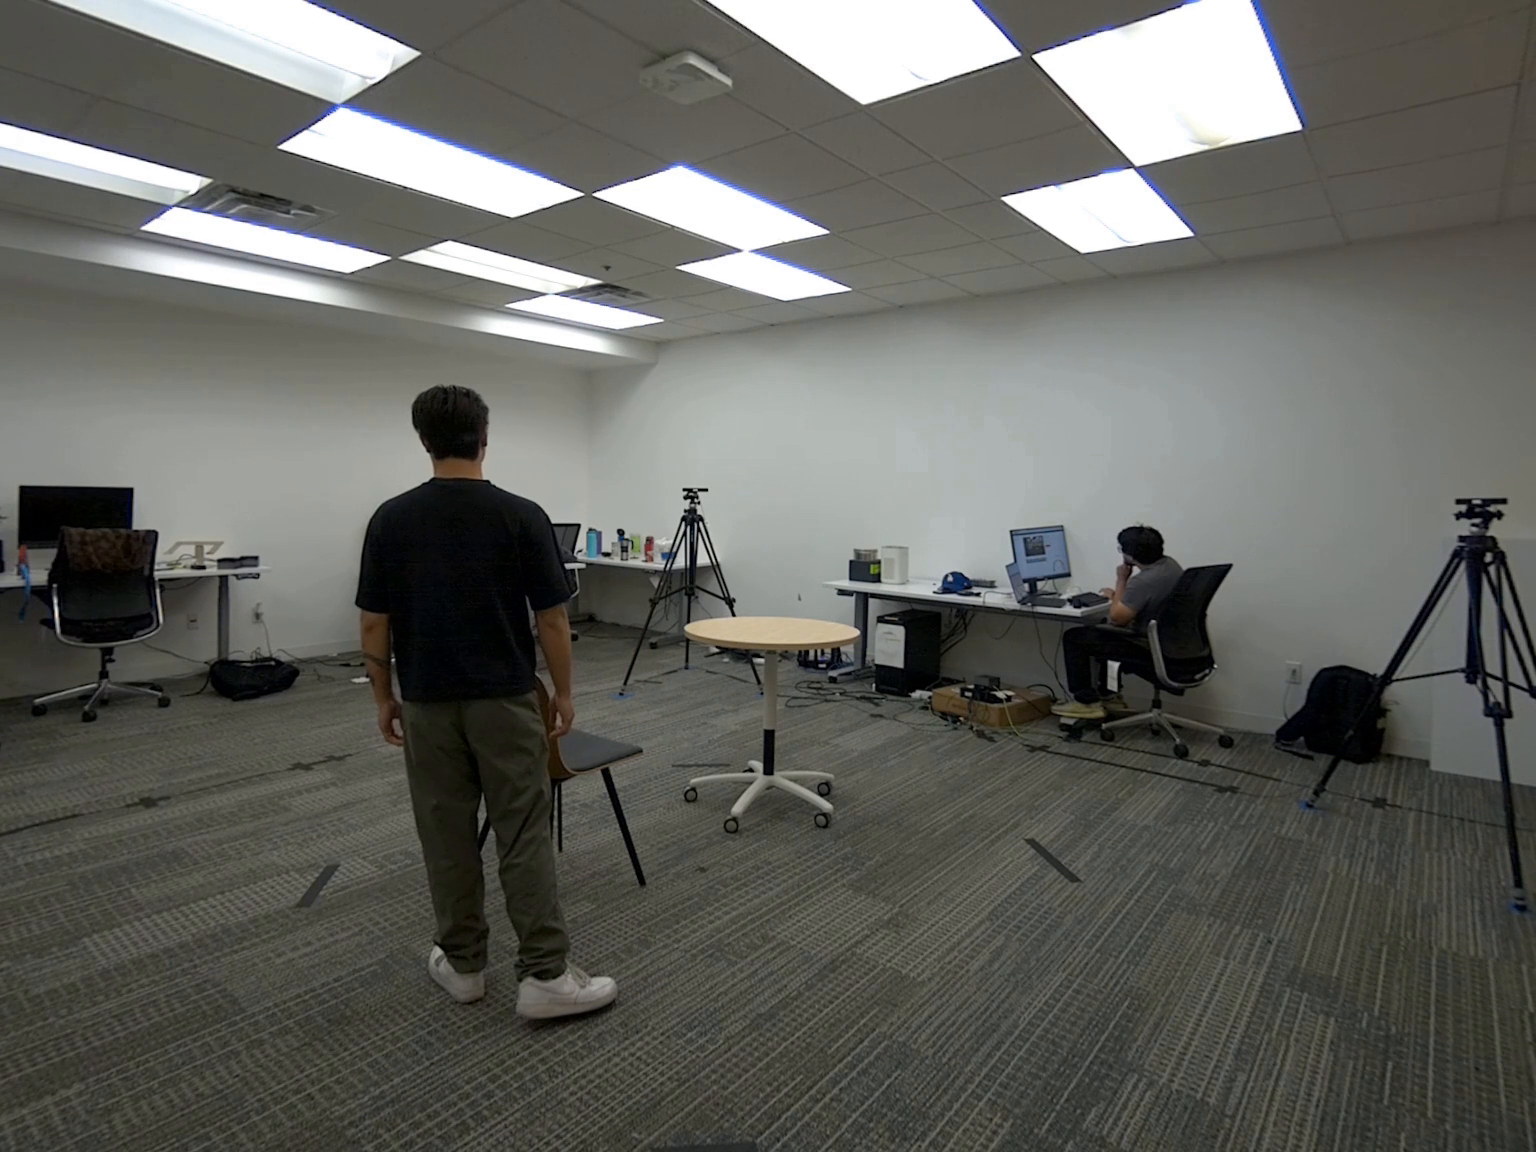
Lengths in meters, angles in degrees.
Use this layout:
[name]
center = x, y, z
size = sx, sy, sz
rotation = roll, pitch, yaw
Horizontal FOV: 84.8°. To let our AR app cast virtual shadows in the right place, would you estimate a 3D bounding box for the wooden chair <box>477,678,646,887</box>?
[wooden chair]
center = -0.738, 0.649, 2.919
size = 0.493, 0.872, 0.510
rotation = 3, 8, 37
